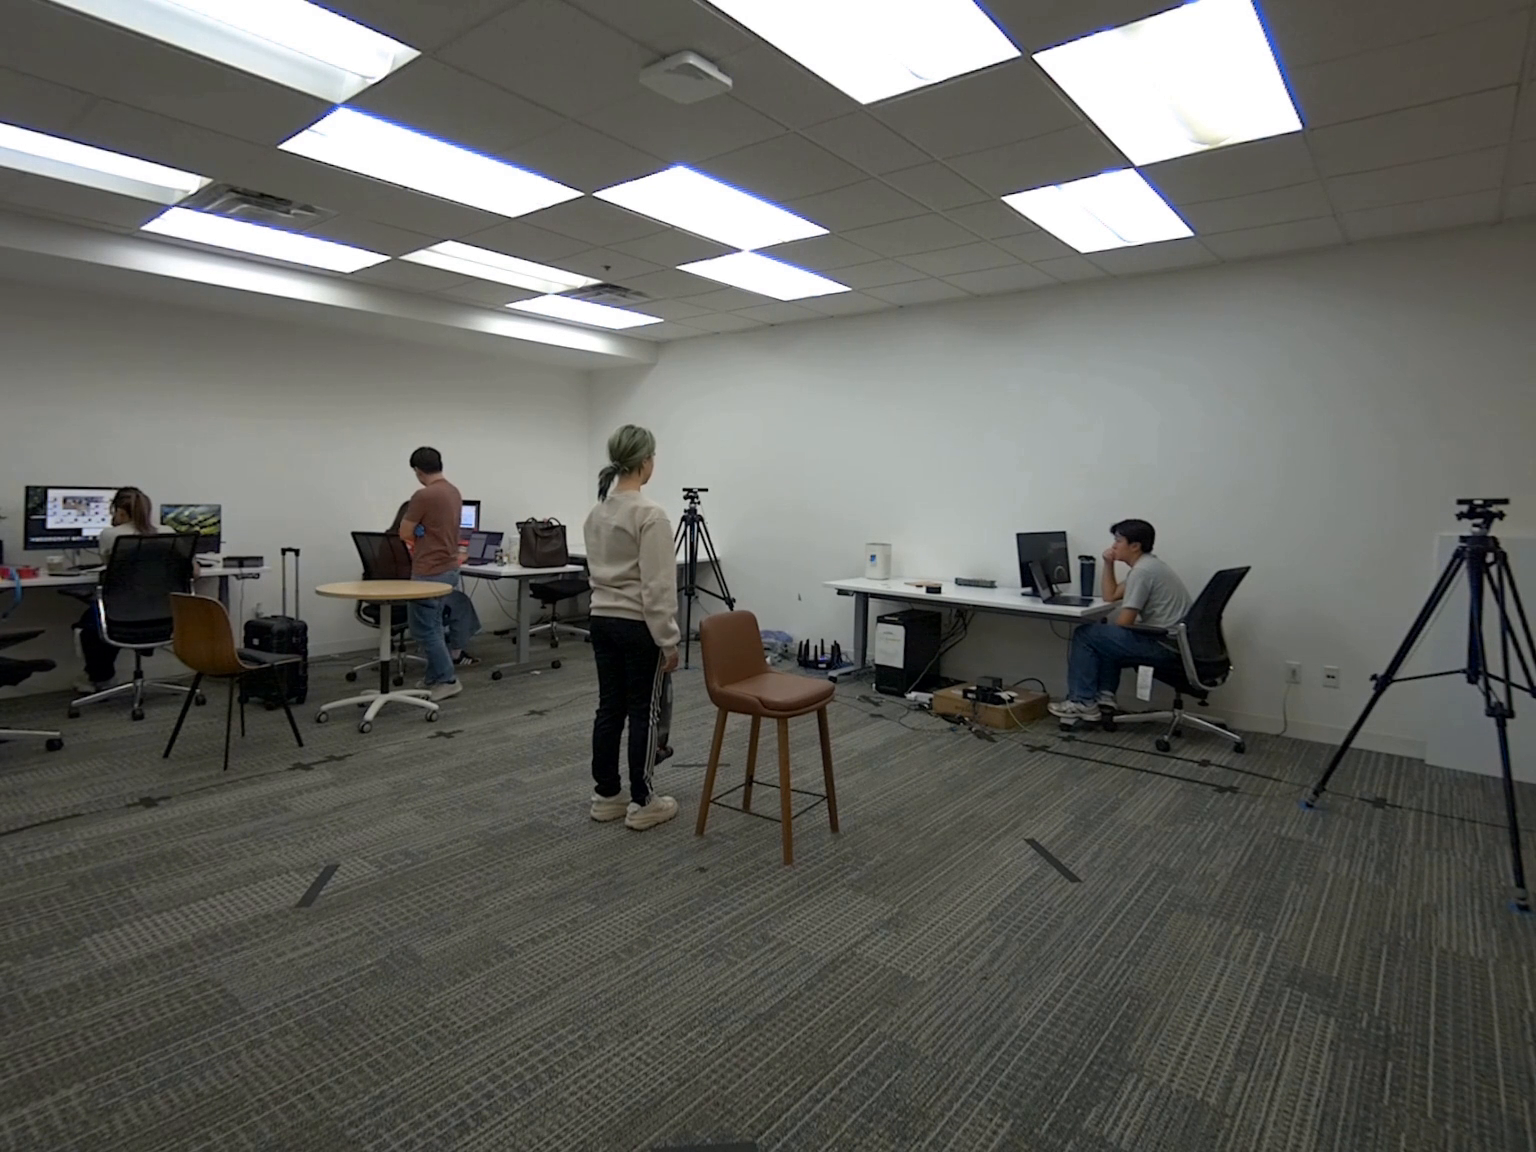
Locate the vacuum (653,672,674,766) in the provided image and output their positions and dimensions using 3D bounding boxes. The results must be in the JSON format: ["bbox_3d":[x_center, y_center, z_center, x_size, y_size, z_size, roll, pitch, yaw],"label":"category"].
[{"bbox_3d":[-0.499,0.326,3.867,0.147,1.050,0.248,3,-1,16],"label":"vacuum"}]
